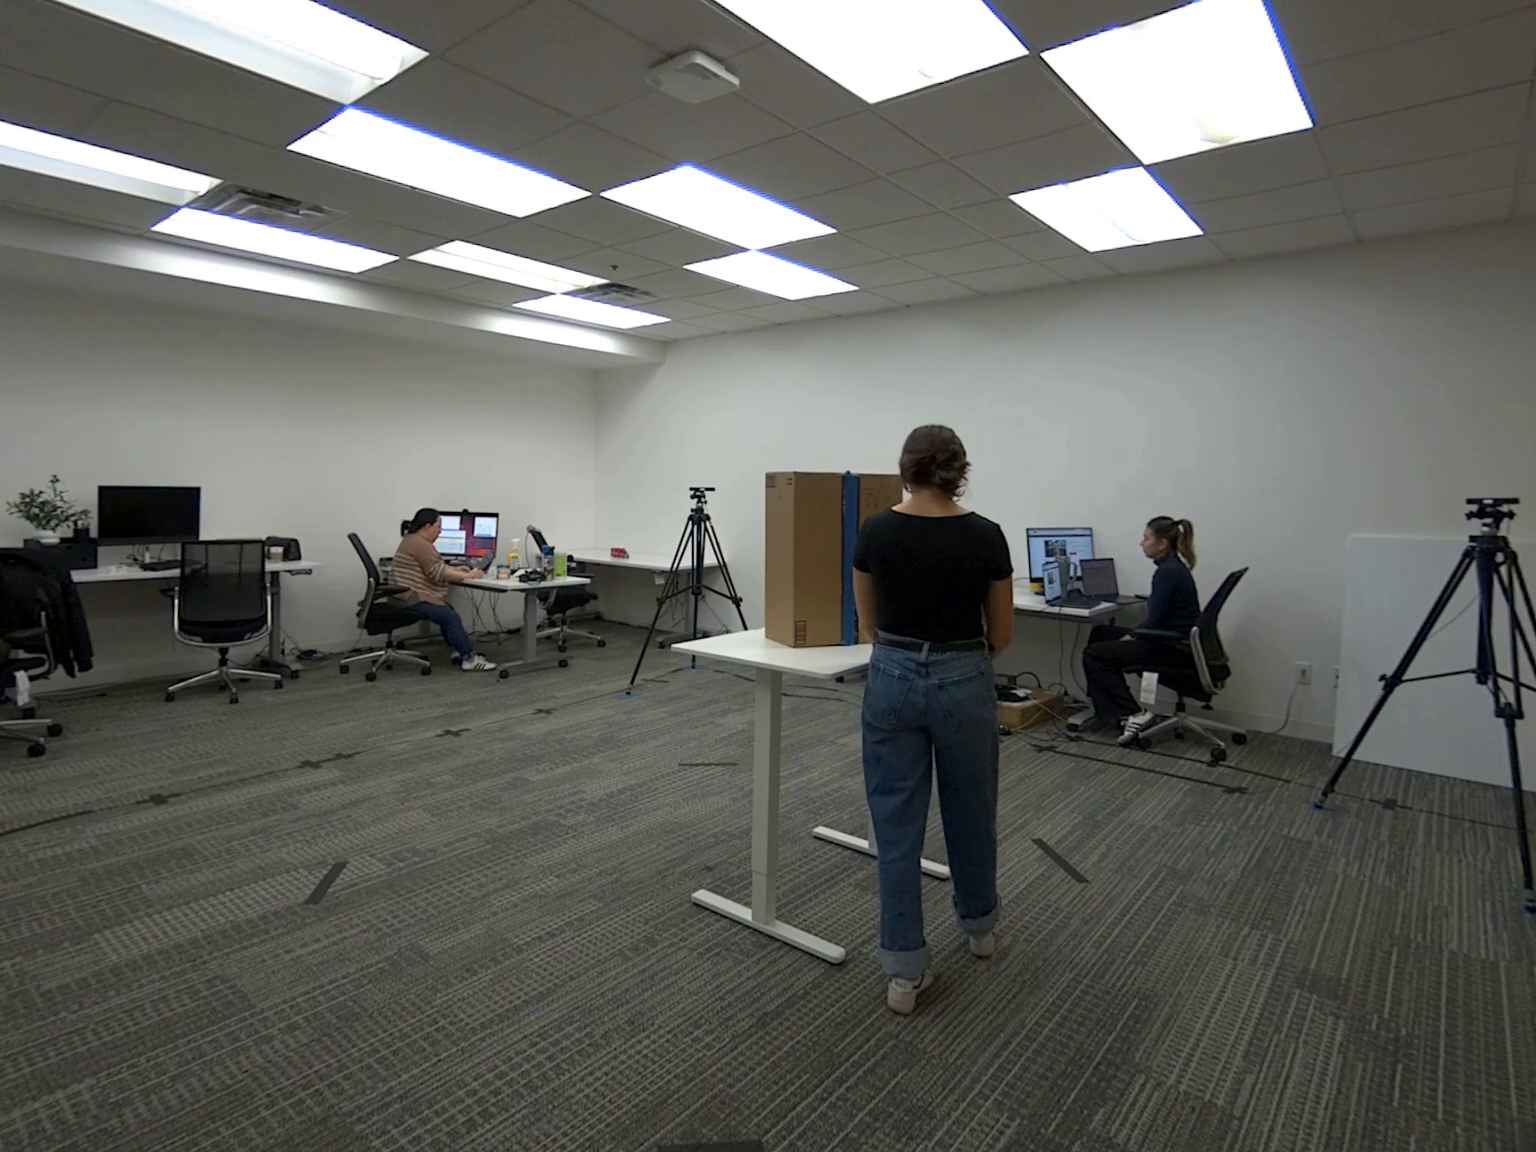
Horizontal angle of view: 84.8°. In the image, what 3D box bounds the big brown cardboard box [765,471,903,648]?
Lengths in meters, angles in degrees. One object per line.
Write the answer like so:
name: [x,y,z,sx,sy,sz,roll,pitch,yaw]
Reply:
big brown cardboard box: [0.210,-0.063,2.883,0.408,0.587,0.239,-2,3,-23]
